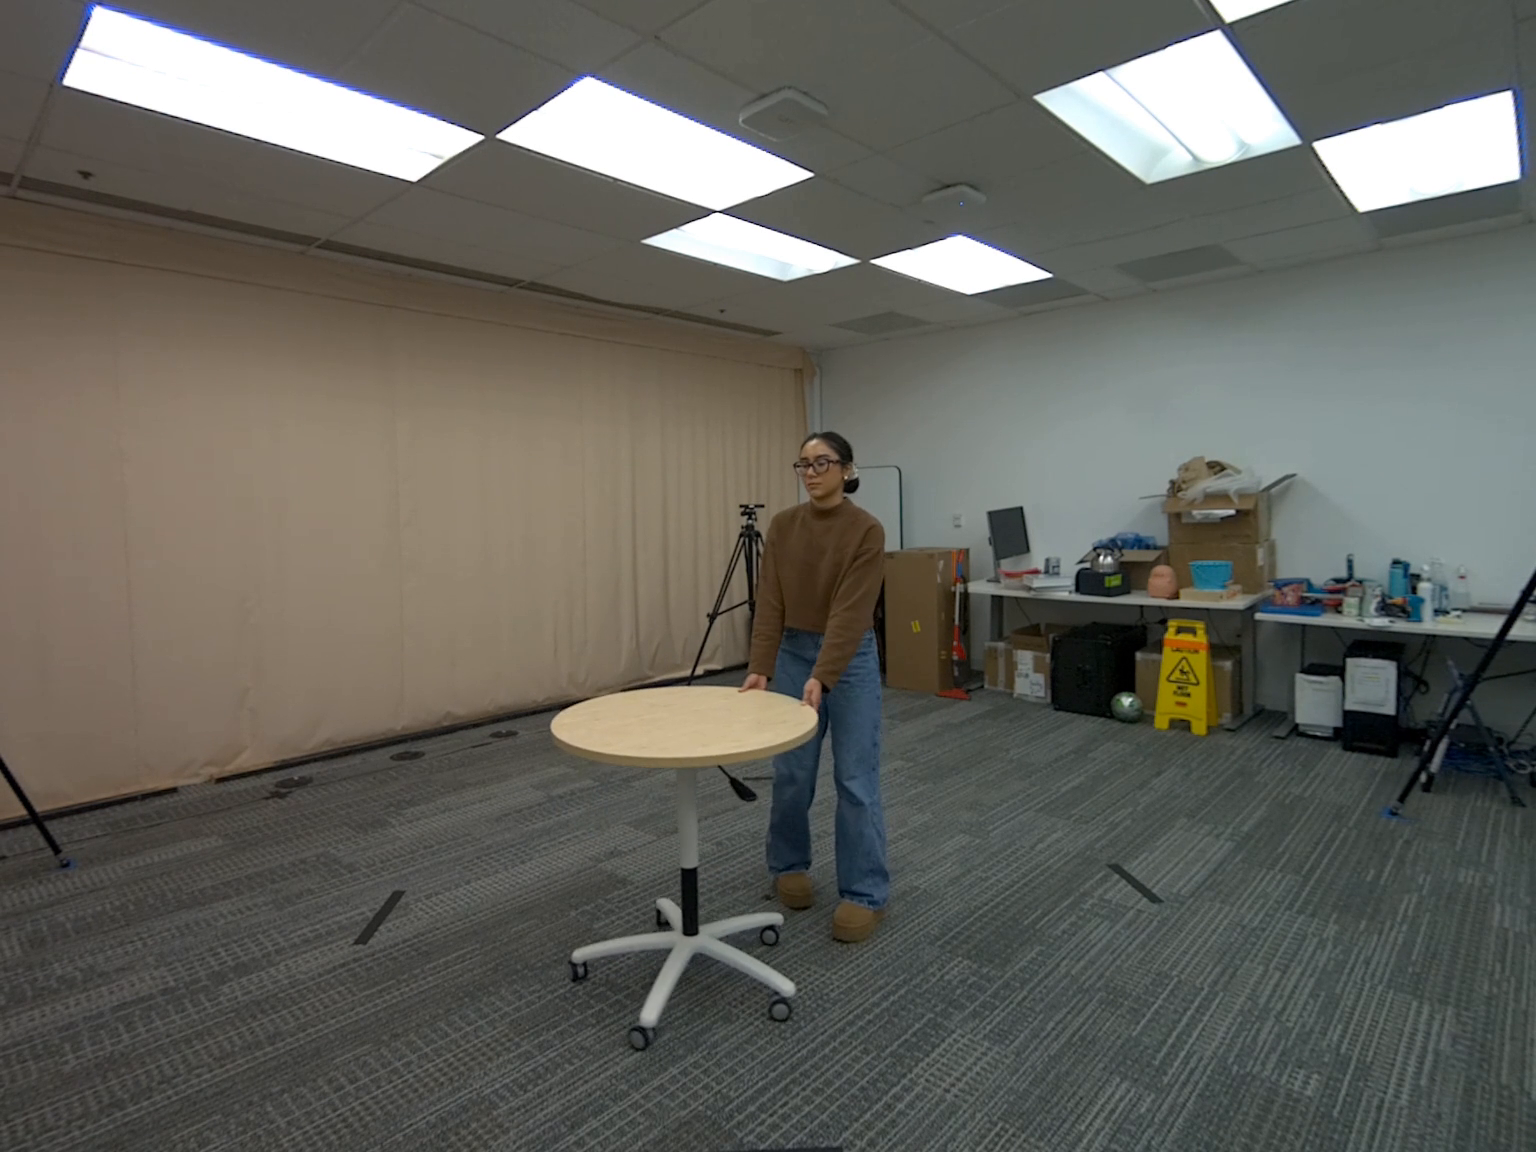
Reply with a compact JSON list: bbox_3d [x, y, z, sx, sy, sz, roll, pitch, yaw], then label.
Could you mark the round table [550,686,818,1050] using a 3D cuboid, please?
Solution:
[{"bbox_3d":[-0.230,0.795,2.482,0.784,0.784,0.788,-1,5,-2],"label":"round table"}]
